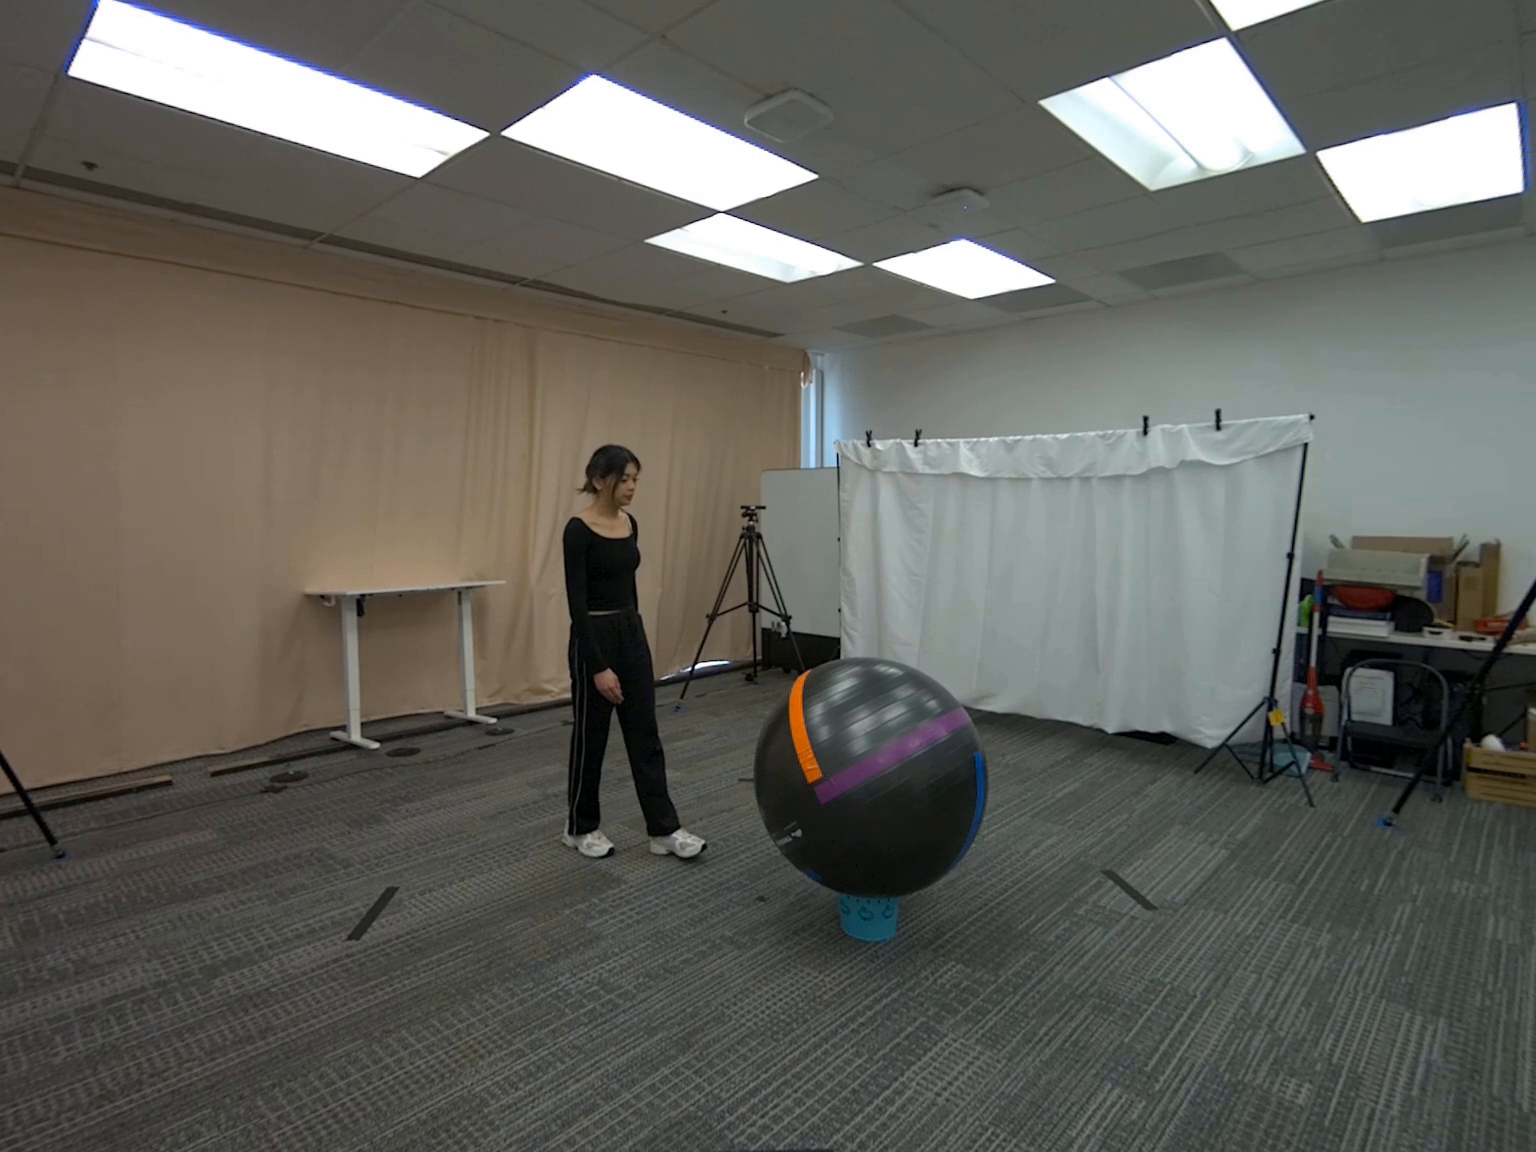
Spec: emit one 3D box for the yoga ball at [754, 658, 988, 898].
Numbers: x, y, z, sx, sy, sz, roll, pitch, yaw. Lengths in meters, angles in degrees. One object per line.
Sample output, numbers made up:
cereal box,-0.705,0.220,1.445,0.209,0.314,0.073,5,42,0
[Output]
yoga ball,0.335,0.654,2.764,0.757,0.756,0.760,0,4,-2
